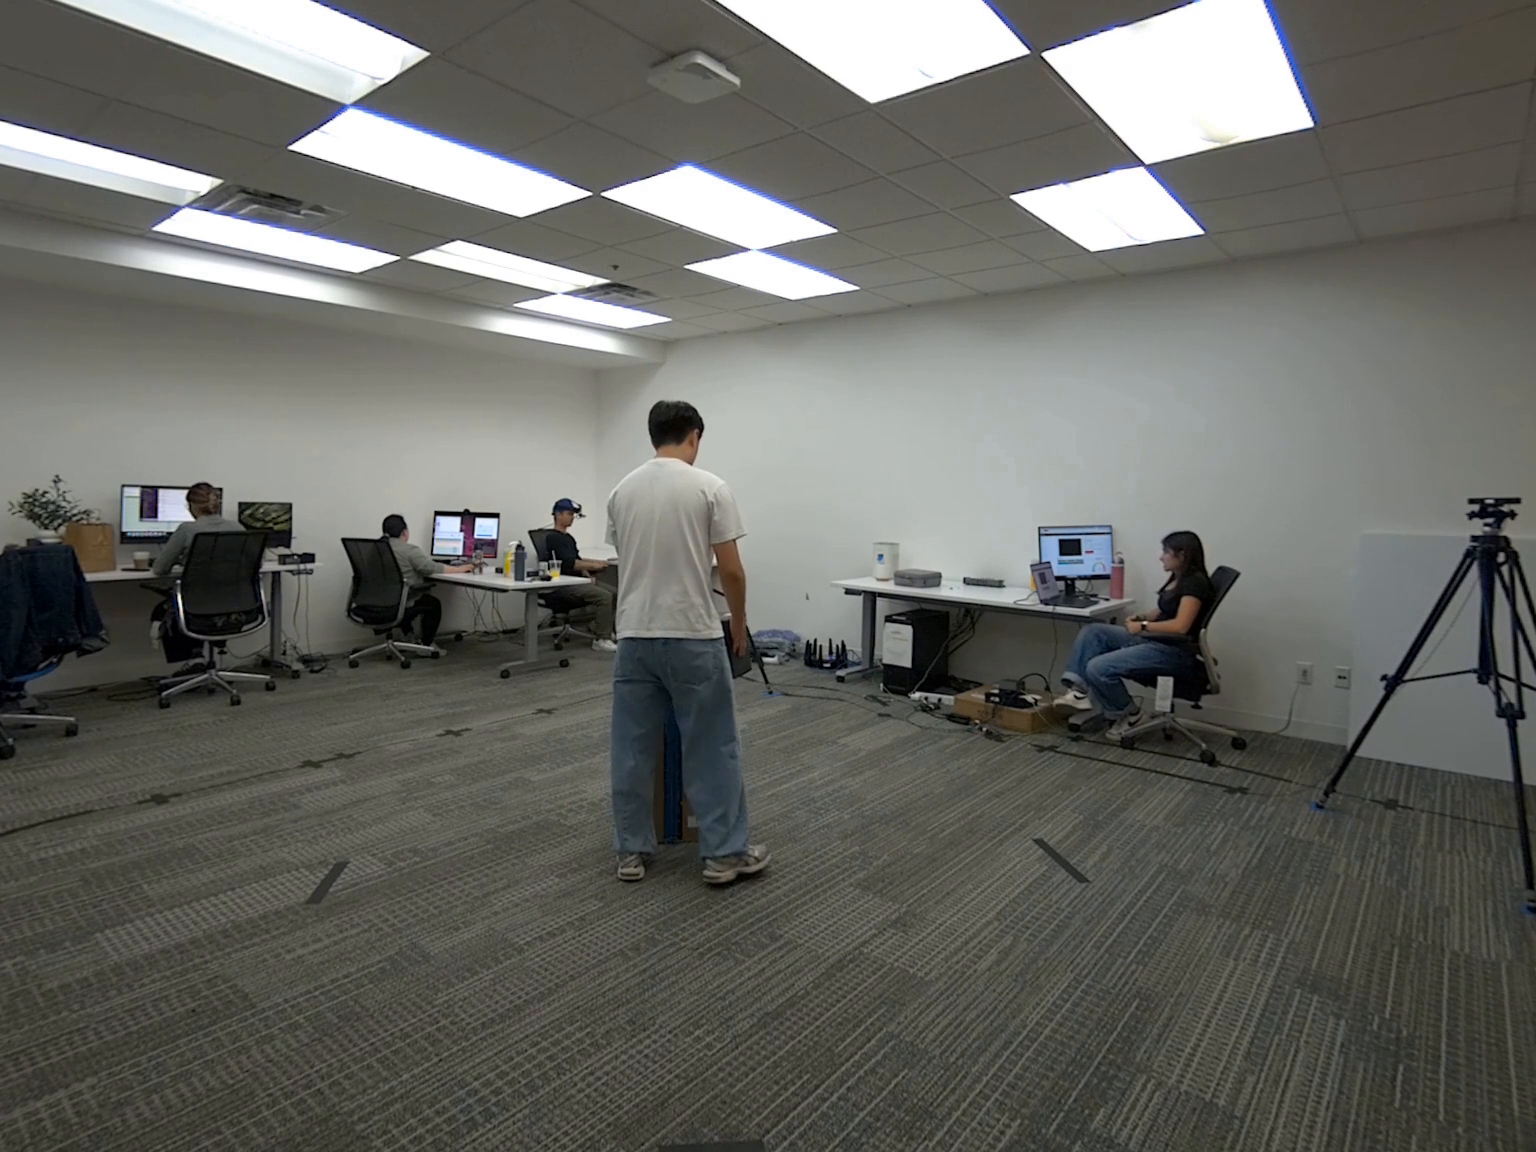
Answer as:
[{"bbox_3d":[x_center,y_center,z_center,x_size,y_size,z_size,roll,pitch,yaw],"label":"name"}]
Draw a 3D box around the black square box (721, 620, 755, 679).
[{"bbox_3d":[-0.204,0.269,3.273,0.222,0.227,0.153,-4,4,23],"label":"black square box"}]
